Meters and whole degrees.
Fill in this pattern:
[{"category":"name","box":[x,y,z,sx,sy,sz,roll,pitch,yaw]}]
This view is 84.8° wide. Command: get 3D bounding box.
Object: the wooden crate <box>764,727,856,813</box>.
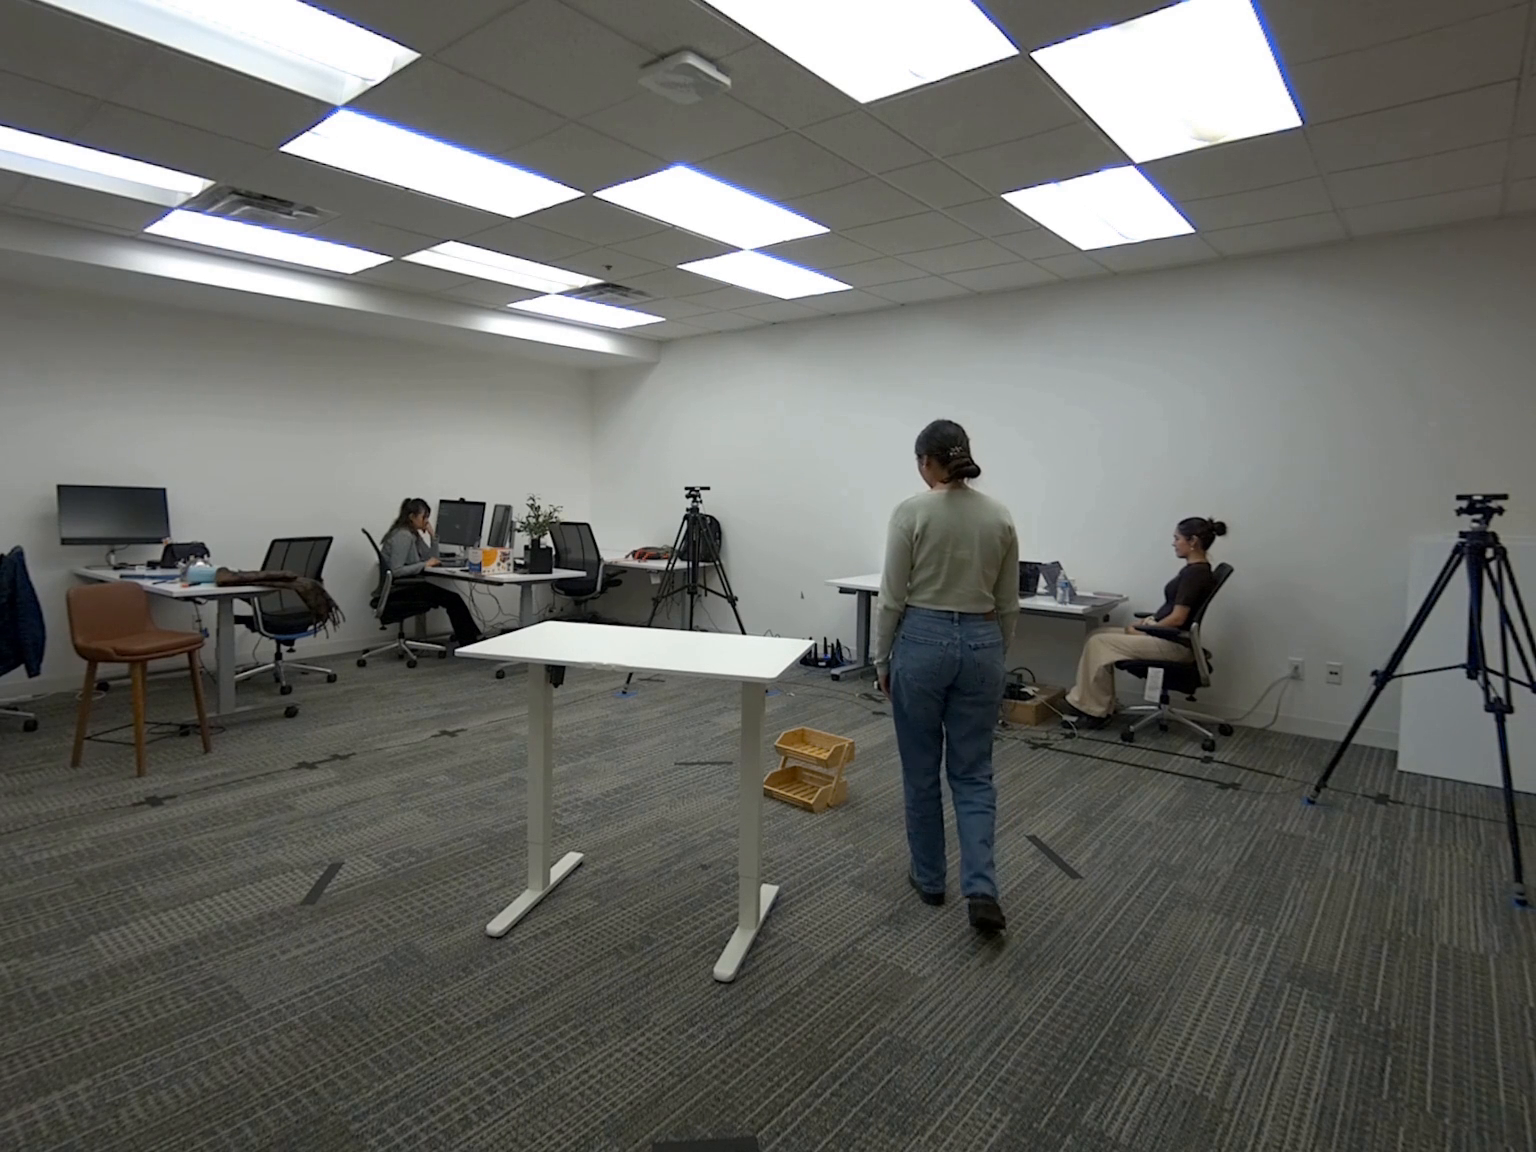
[{"category":"wooden crate","box":[0.169,0.861,3.857,0.335,0.272,0.293,5,6,42]}]
